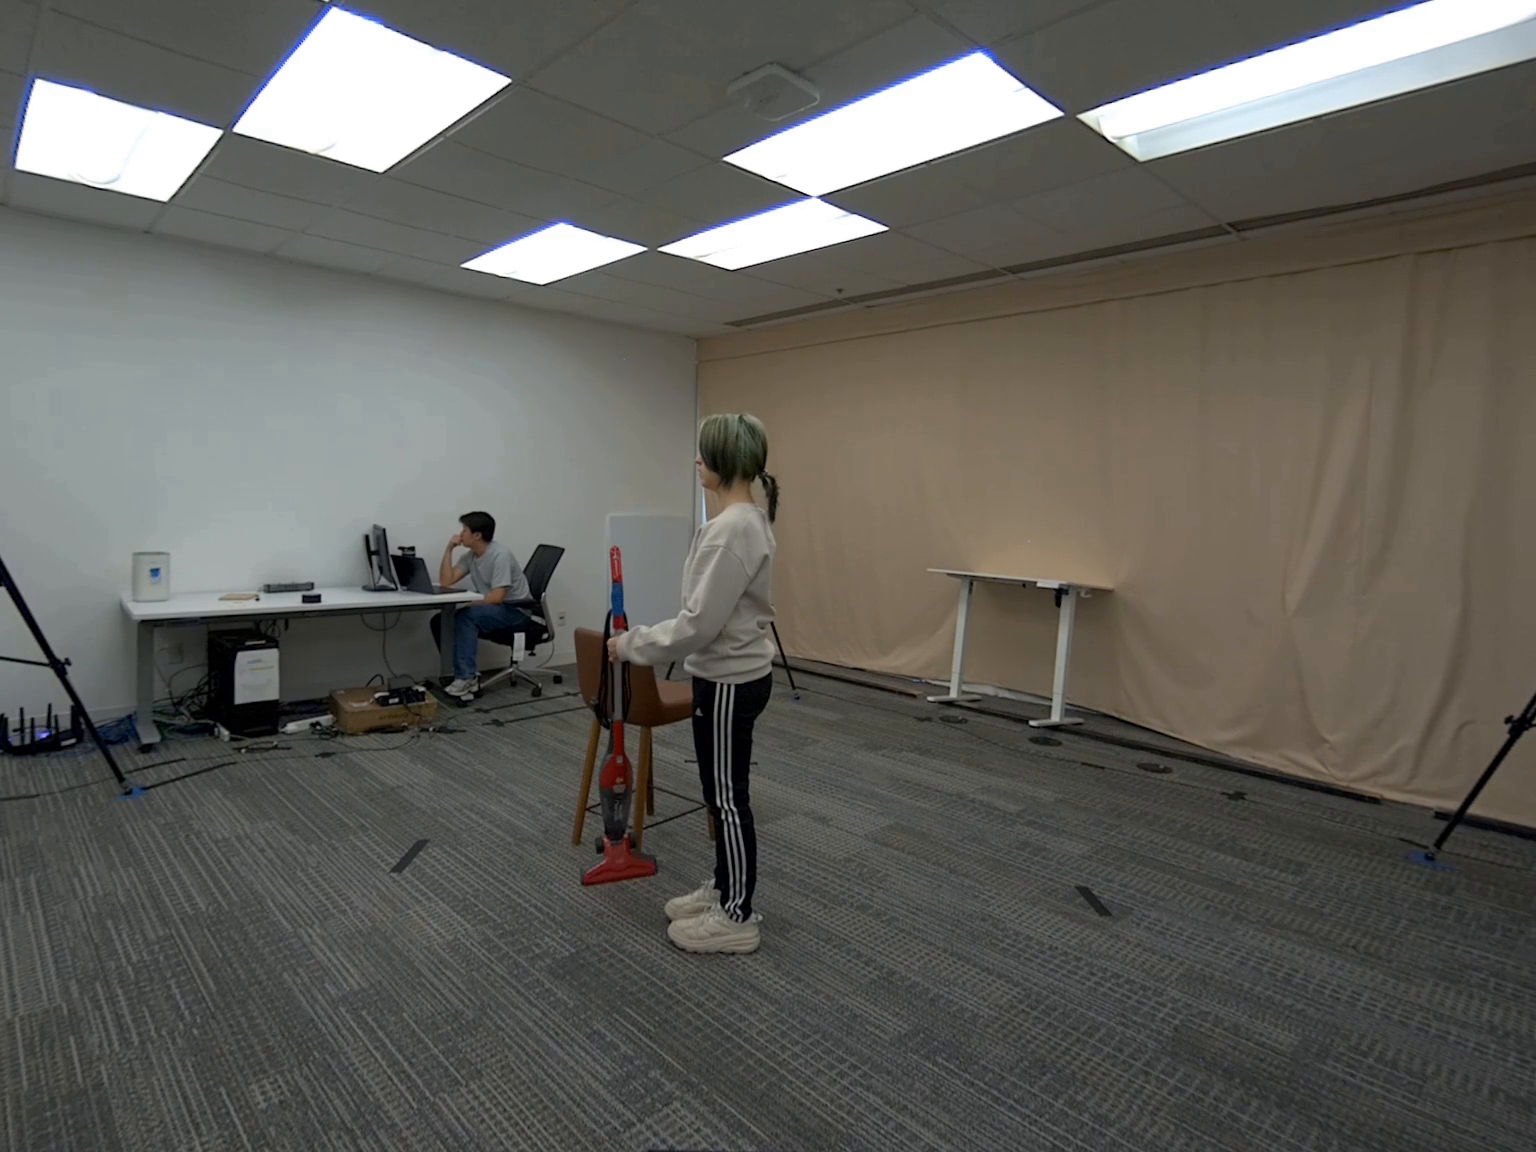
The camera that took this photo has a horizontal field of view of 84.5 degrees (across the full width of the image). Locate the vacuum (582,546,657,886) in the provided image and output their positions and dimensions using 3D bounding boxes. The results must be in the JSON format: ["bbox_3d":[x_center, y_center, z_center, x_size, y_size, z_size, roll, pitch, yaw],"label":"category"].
[{"bbox_3d":[-0.481,0.433,2.655,0.250,1.042,0.146,-1,9,-13],"label":"vacuum"}]
